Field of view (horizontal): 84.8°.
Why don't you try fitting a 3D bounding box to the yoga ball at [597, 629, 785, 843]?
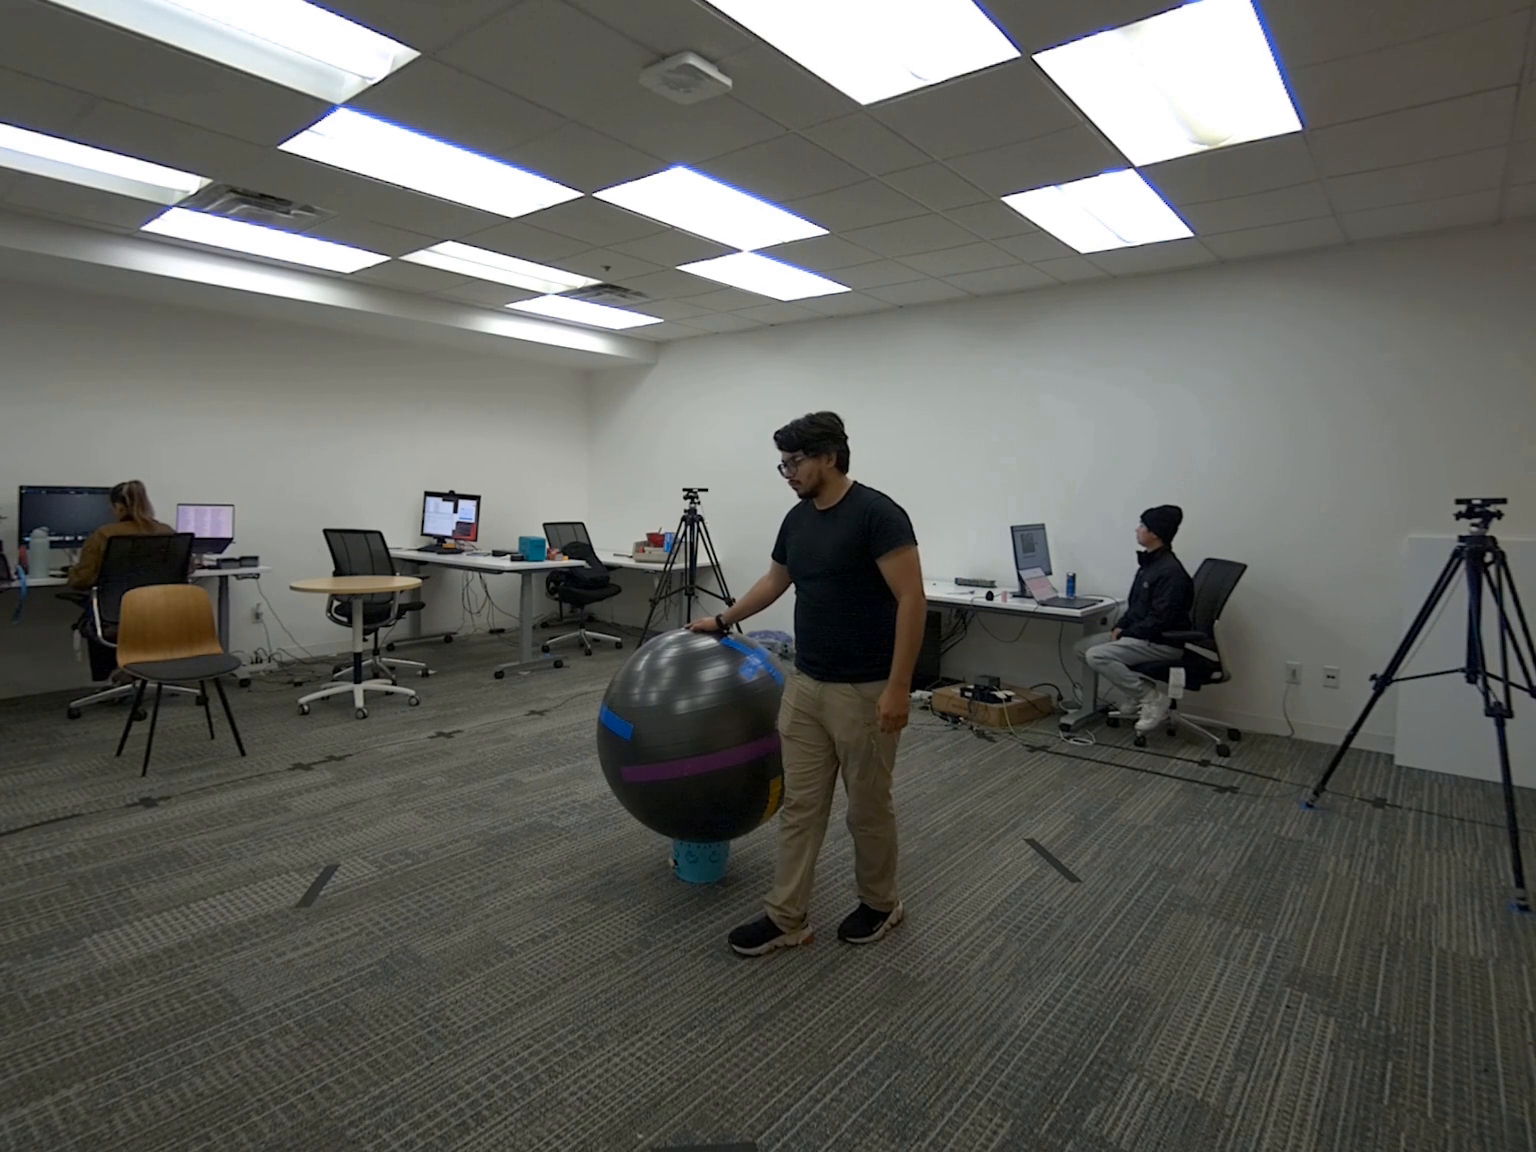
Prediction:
[{"bbox_3d":[-0.252,0.563,3.069,0.757,0.756,0.762,1,4,-2],"label":"yoga ball"}]
